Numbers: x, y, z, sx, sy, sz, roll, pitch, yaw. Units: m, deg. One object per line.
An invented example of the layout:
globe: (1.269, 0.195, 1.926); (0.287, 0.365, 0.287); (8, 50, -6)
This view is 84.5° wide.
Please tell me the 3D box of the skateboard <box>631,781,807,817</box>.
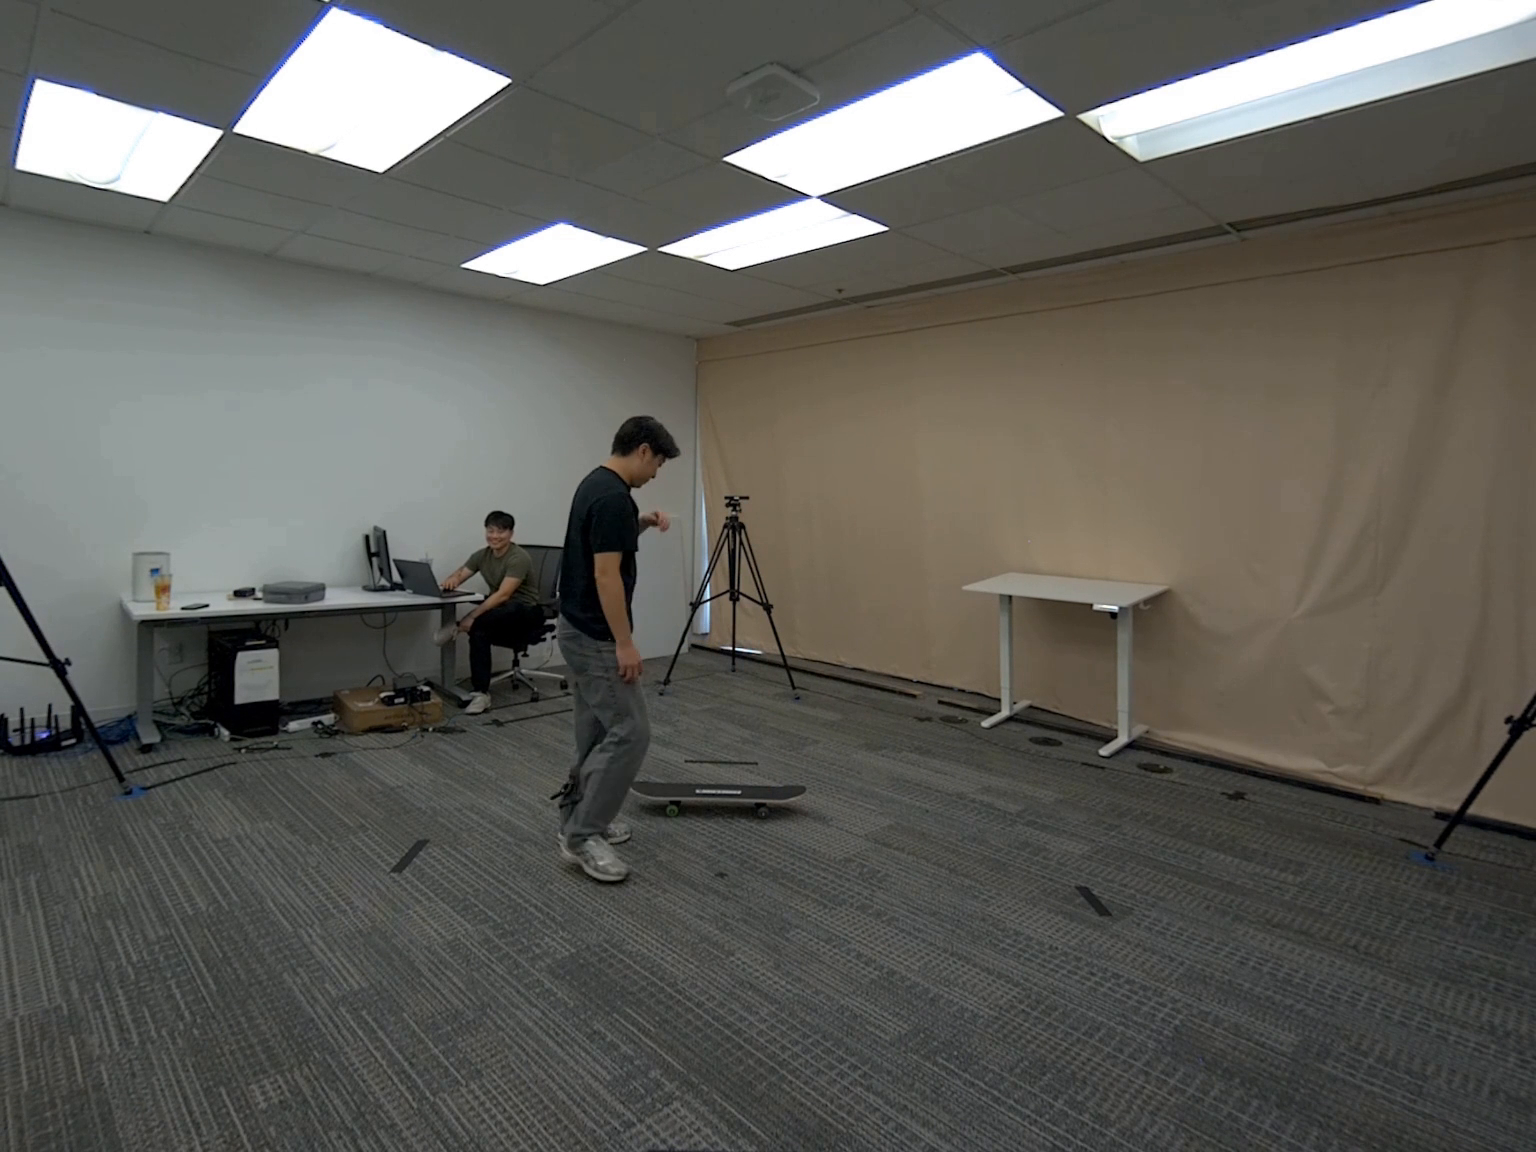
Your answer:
skateboard: (-0.227, 0.984, 3.741); (0.786, 0.110, 0.194); (1, 4, 0)
